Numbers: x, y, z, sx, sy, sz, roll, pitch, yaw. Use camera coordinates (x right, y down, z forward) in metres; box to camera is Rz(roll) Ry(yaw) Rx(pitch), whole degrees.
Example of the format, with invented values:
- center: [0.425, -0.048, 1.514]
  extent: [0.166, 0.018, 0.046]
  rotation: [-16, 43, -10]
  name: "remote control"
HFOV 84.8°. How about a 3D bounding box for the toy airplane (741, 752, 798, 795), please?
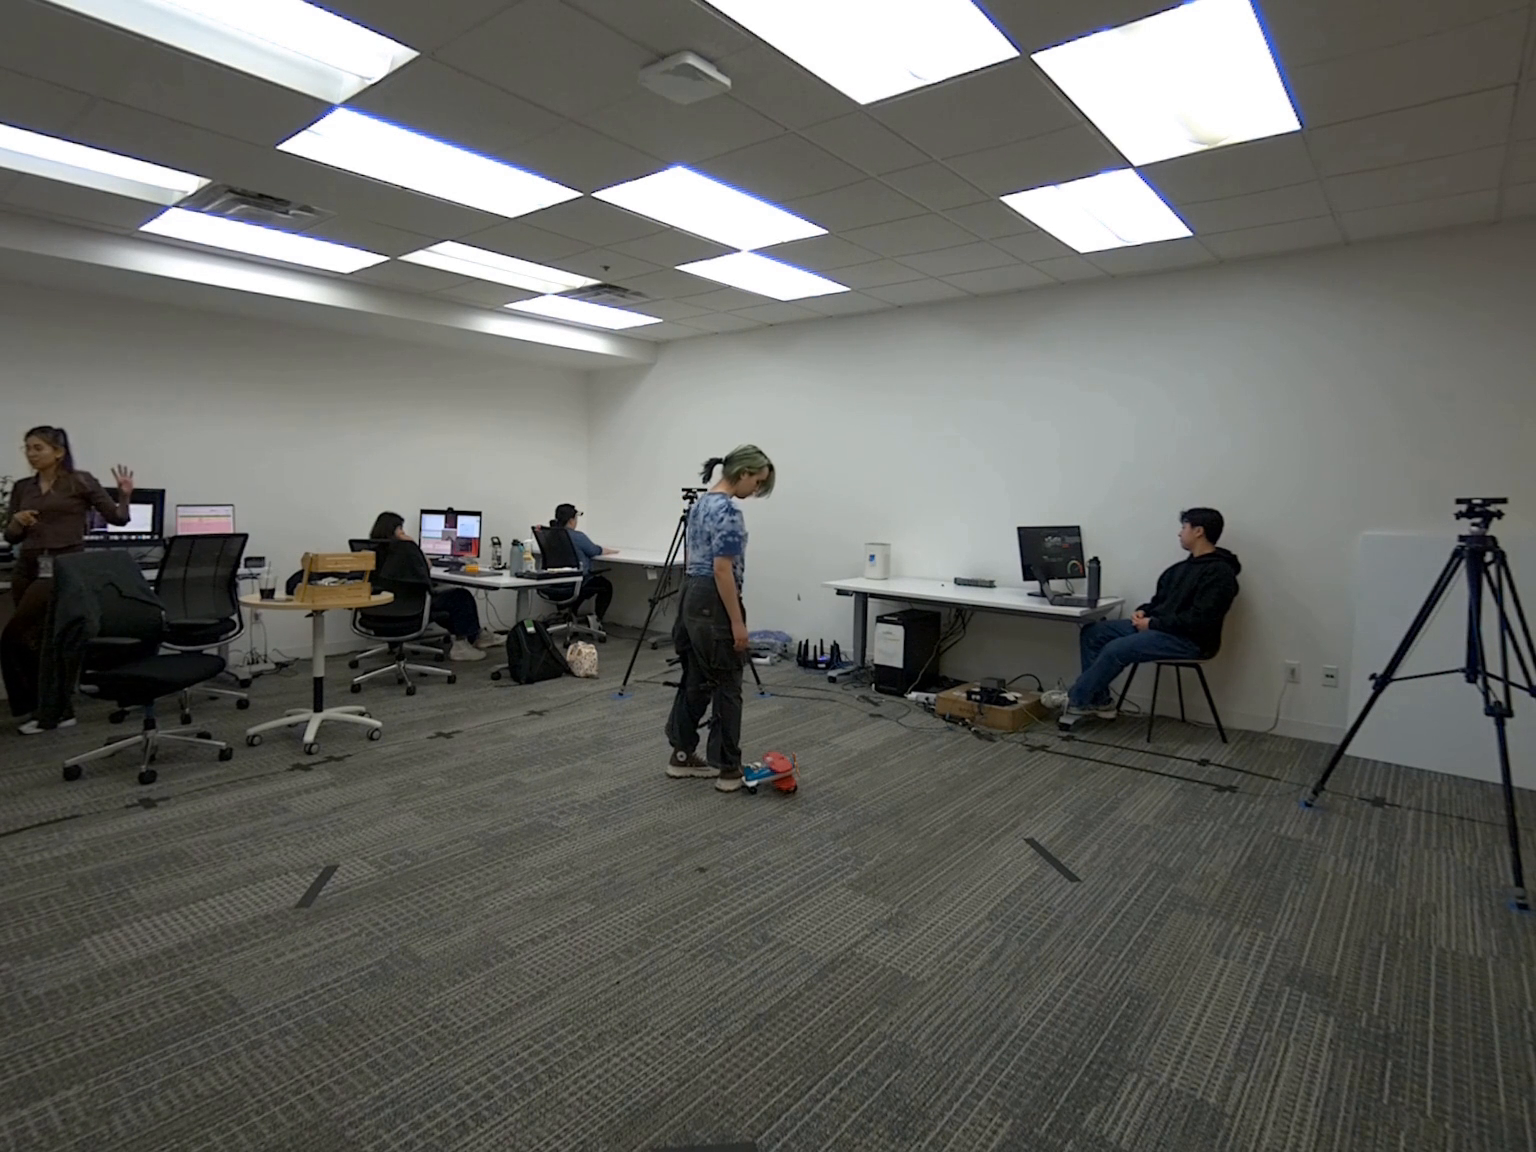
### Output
- center: [0.010, 0.927, 3.918]
  extent: [0.251, 0.156, 0.259]
  rotation: [-1, 4, -44]
  name: "toy airplane"
